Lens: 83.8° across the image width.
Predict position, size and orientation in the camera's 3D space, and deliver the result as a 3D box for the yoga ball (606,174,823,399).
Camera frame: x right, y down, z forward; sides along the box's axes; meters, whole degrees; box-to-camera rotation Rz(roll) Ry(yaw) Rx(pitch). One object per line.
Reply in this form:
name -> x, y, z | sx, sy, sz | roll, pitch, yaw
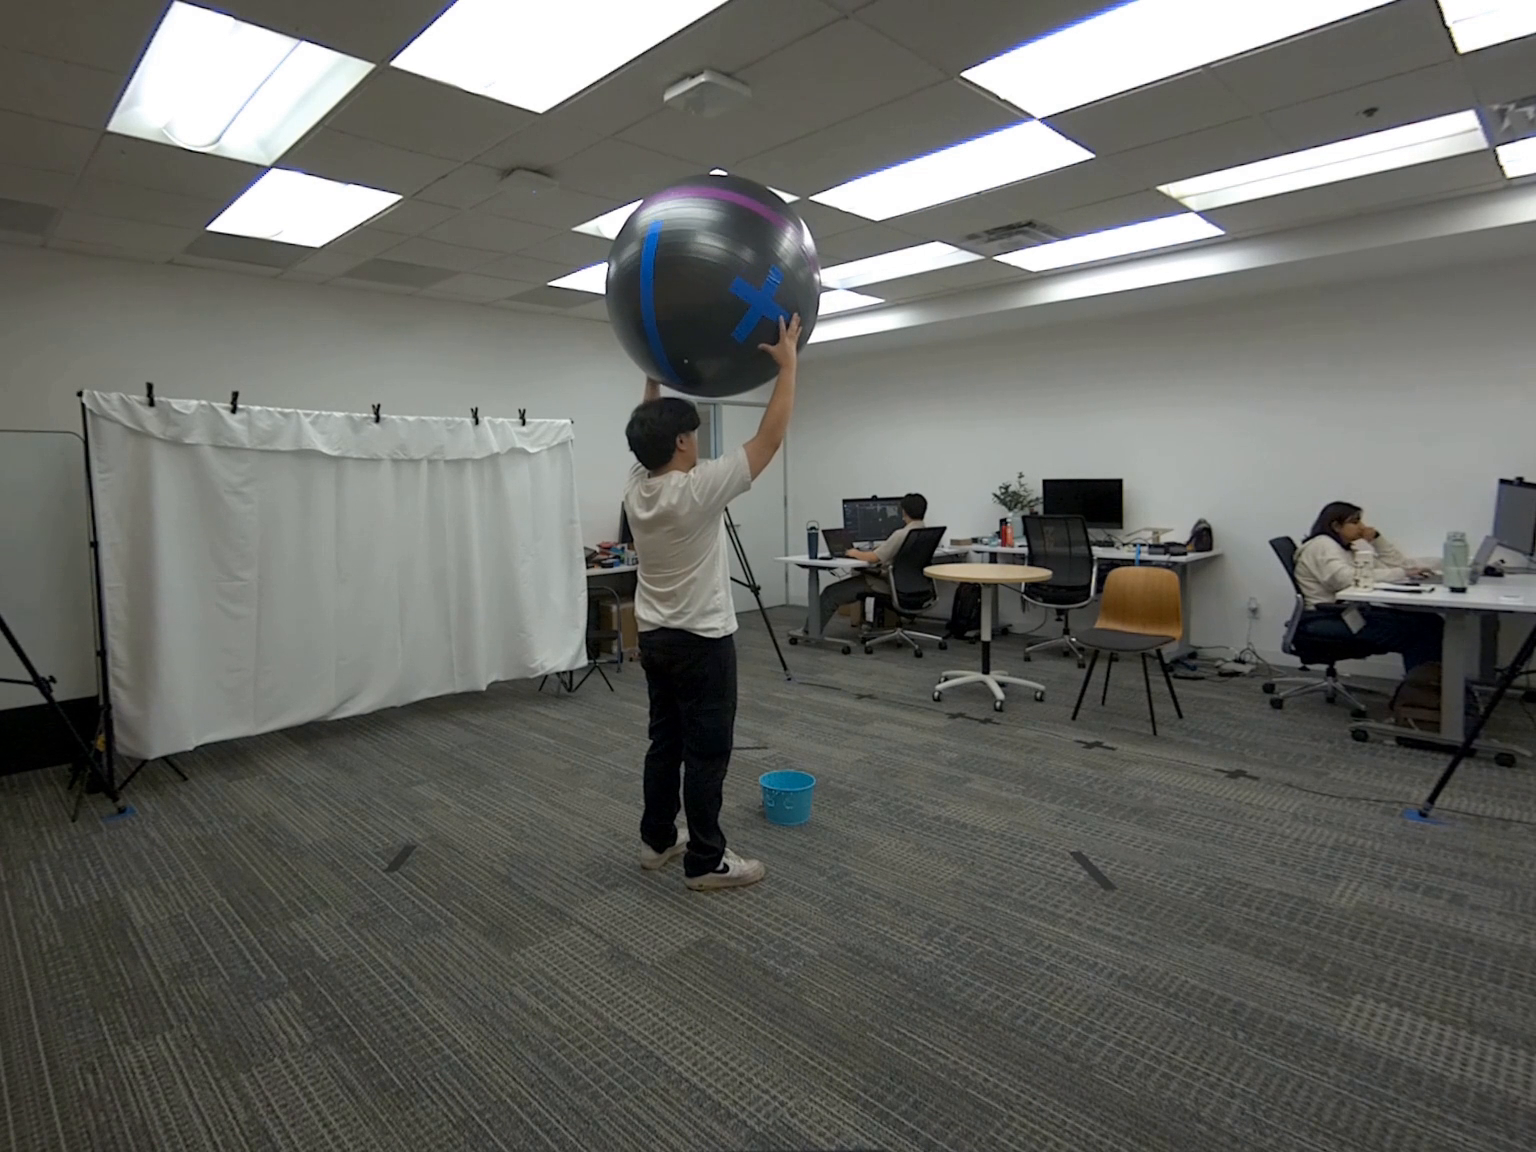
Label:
yoga ball -> -0.194, -1.011, 3.014 | 0.757, 0.755, 0.762 | -1, 5, -2
